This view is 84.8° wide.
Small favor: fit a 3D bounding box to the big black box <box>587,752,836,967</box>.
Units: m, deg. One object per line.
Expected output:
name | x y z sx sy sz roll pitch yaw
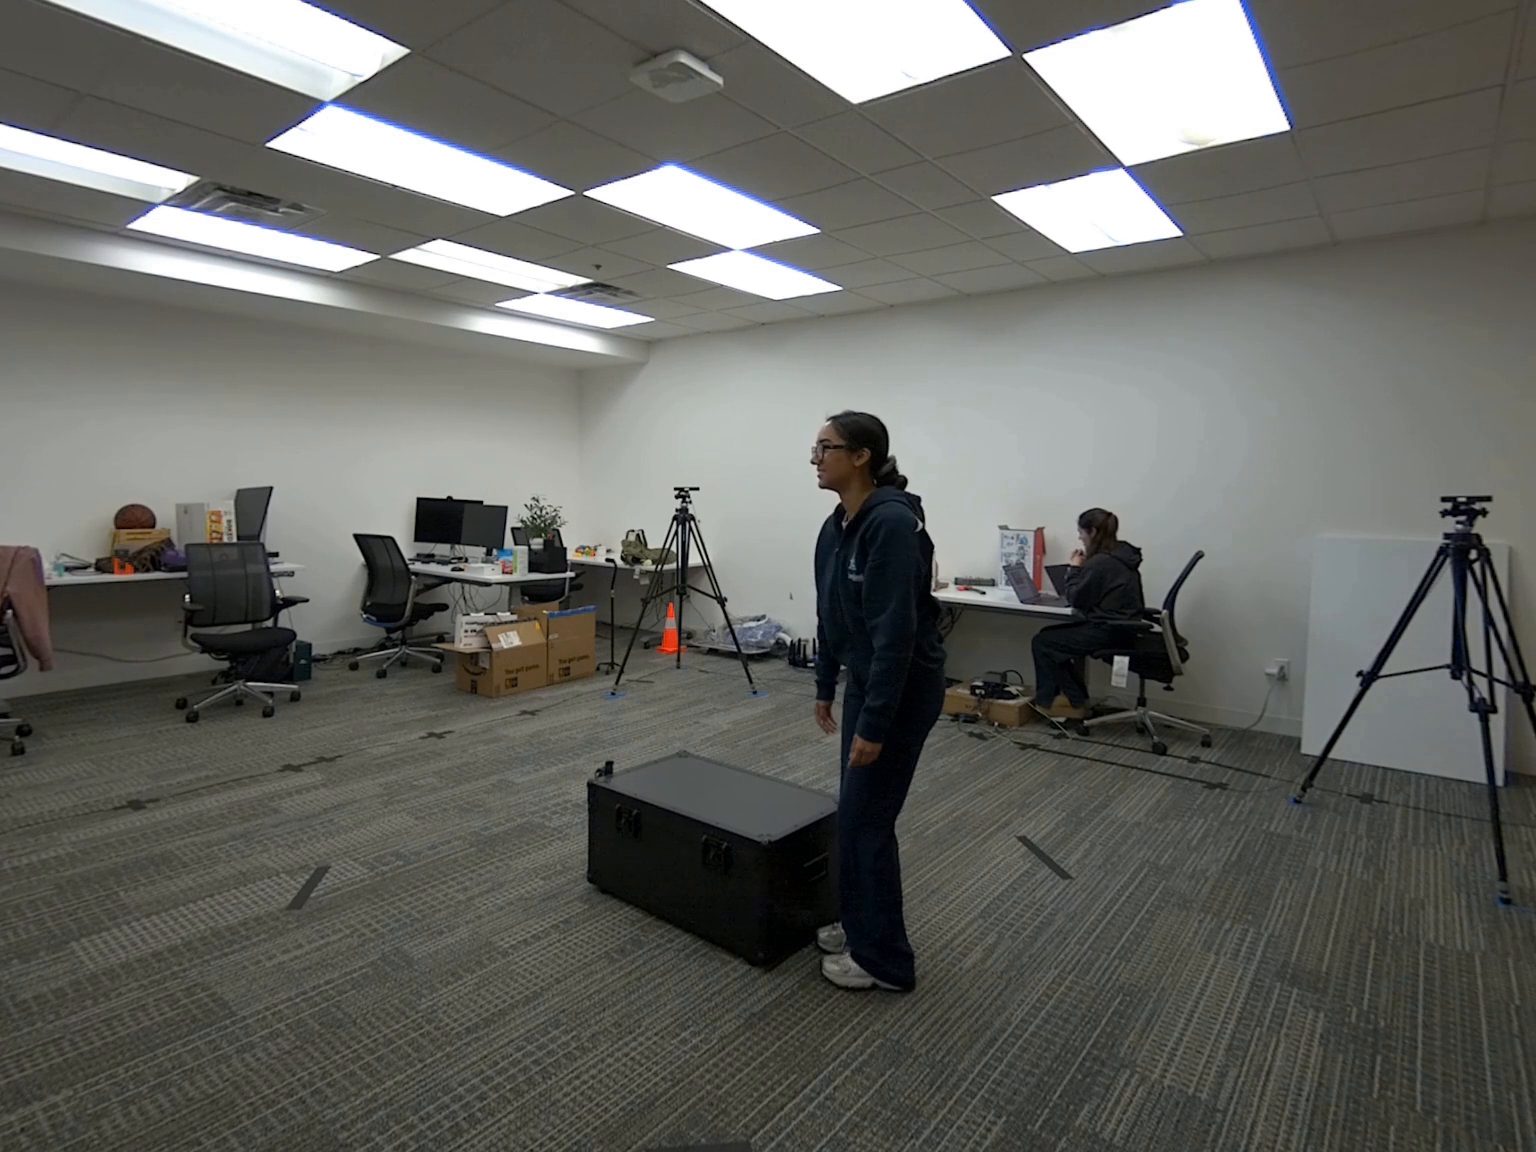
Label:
big black box | -0.201 0.898 2.882 0.891 0.395 0.506 6 6 39
